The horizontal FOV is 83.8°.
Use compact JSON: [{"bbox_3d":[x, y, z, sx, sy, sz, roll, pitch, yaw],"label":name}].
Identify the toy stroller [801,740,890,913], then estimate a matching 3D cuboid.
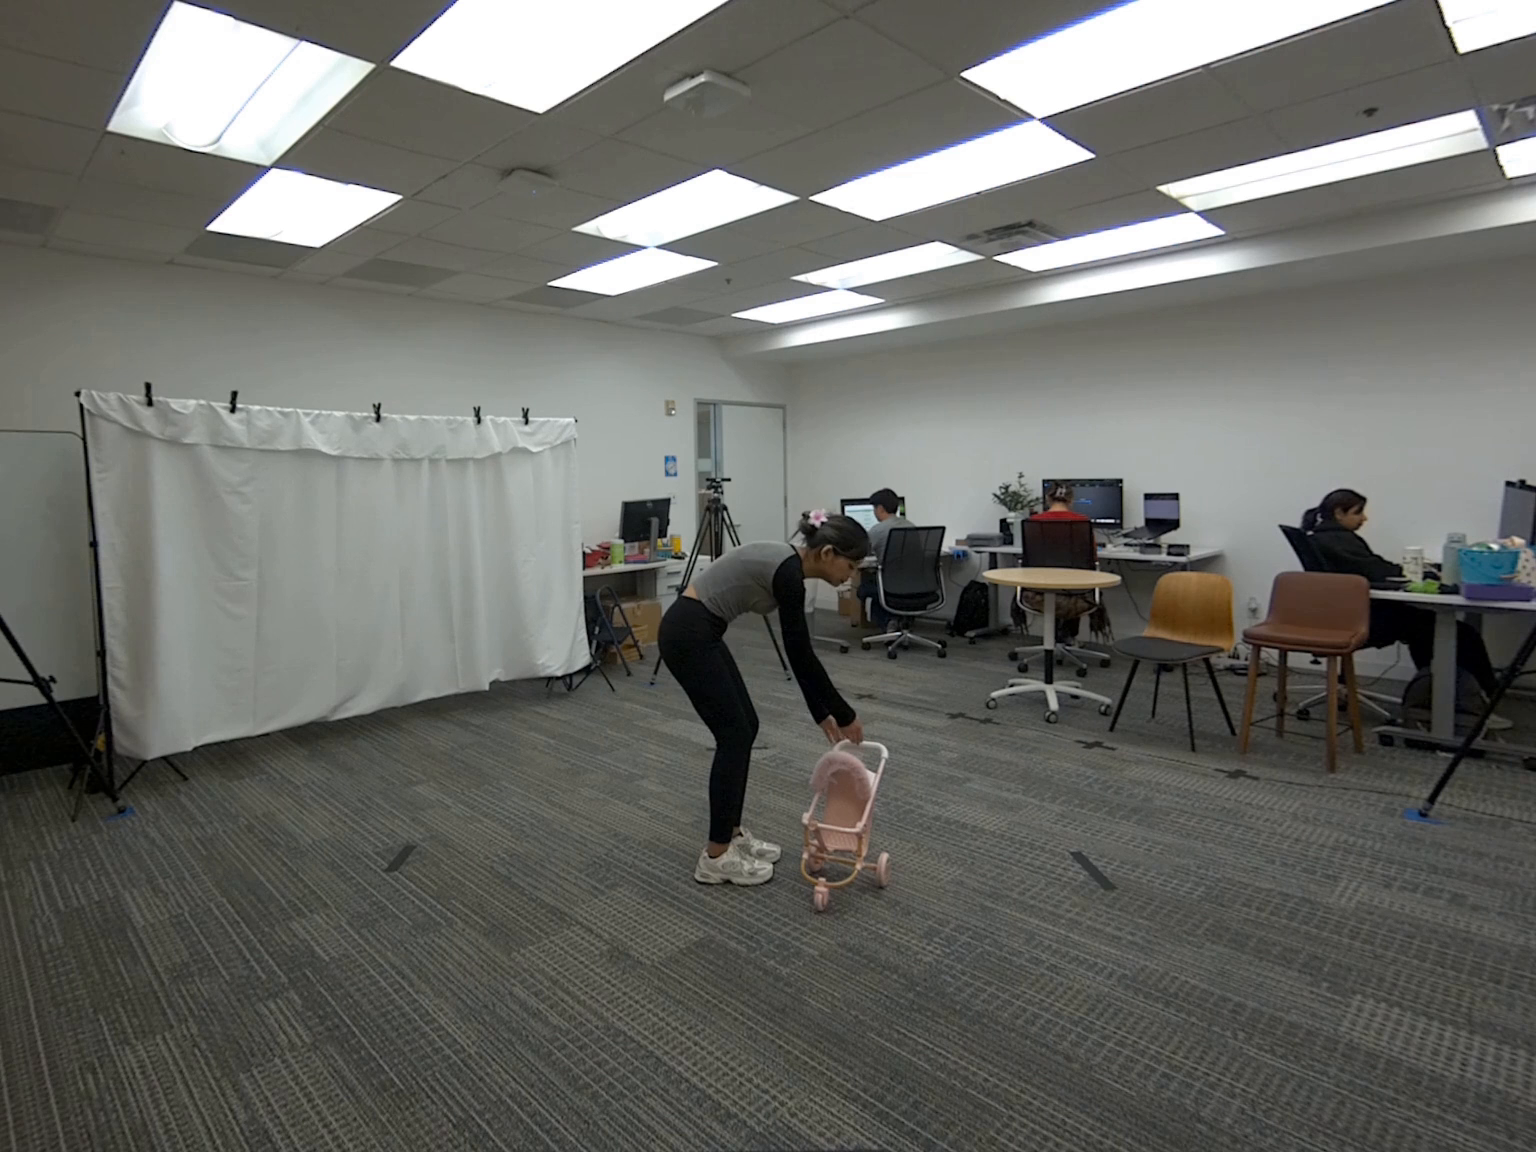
[{"bbox_3d":[0.247,0.831,2.906,0.289,0.539,0.330,0,-10,30],"label":"toy stroller"}]
